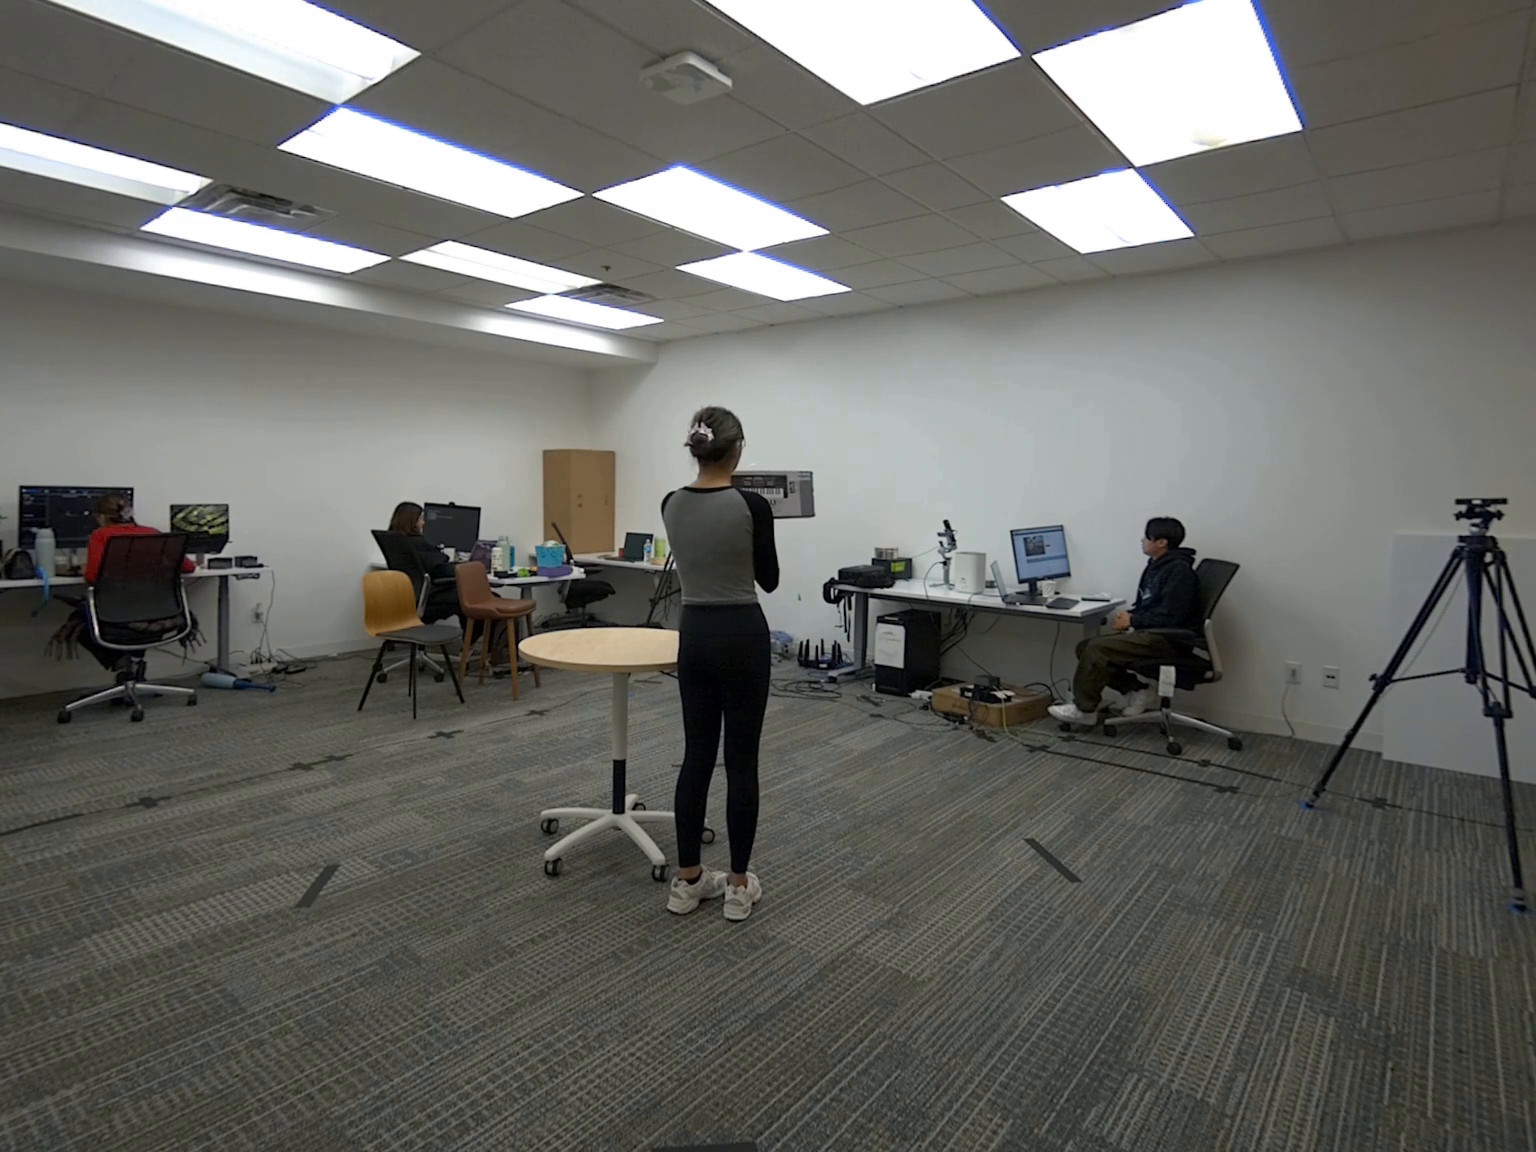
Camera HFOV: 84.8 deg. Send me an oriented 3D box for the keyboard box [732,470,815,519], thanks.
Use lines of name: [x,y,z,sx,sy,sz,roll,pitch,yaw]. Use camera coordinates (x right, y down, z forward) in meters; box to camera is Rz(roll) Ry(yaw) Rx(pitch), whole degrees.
keyboard box: [-0.049,-0.300,3.143,0.429,0.177,0.060,-2,-5,-16]
